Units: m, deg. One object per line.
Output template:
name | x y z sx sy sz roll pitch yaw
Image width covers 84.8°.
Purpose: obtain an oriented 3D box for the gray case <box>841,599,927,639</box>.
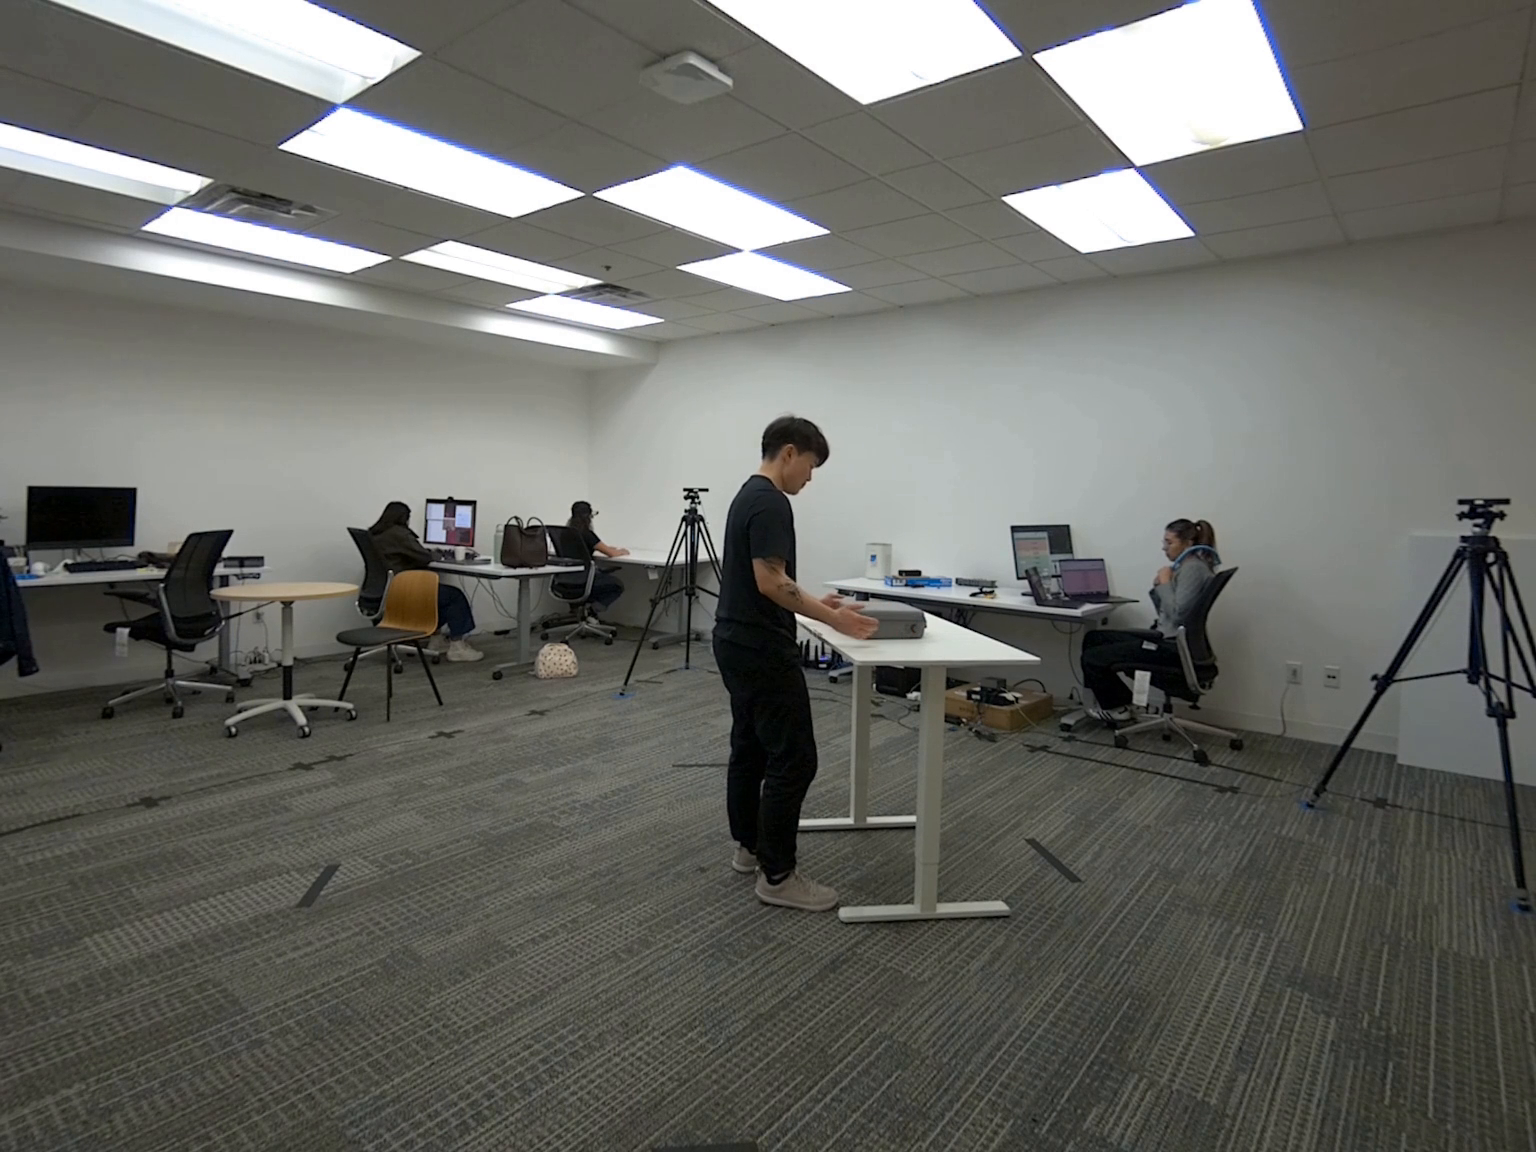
gray case | 0.400 0.151 3.068 0.258 0.104 0.260 2 4 -10
